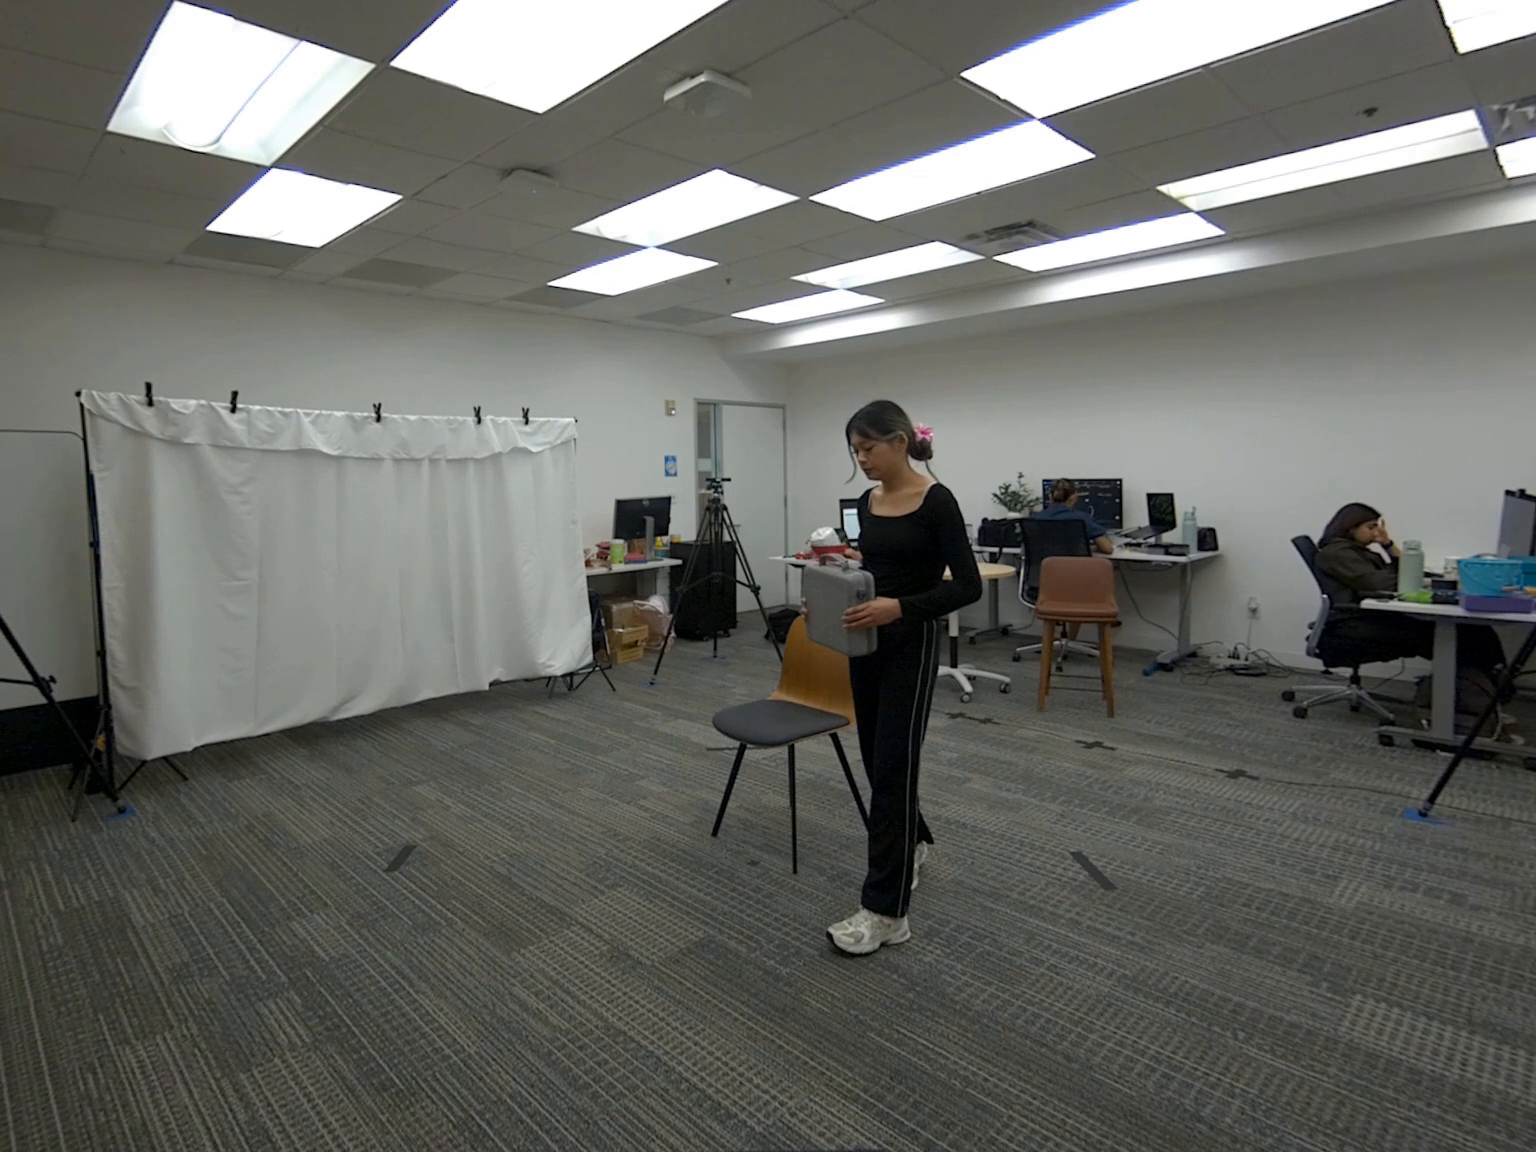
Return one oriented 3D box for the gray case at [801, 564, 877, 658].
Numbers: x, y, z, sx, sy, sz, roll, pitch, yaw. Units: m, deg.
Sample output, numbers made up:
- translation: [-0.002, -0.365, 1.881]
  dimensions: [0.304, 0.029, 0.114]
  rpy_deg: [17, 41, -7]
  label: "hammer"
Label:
- translation: [0.221, 0.092, 2.579]
  dimensions: [0.102, 0.258, 0.265]
  rpy_deg: [-9, 12, -28]
  label: "gray case"
